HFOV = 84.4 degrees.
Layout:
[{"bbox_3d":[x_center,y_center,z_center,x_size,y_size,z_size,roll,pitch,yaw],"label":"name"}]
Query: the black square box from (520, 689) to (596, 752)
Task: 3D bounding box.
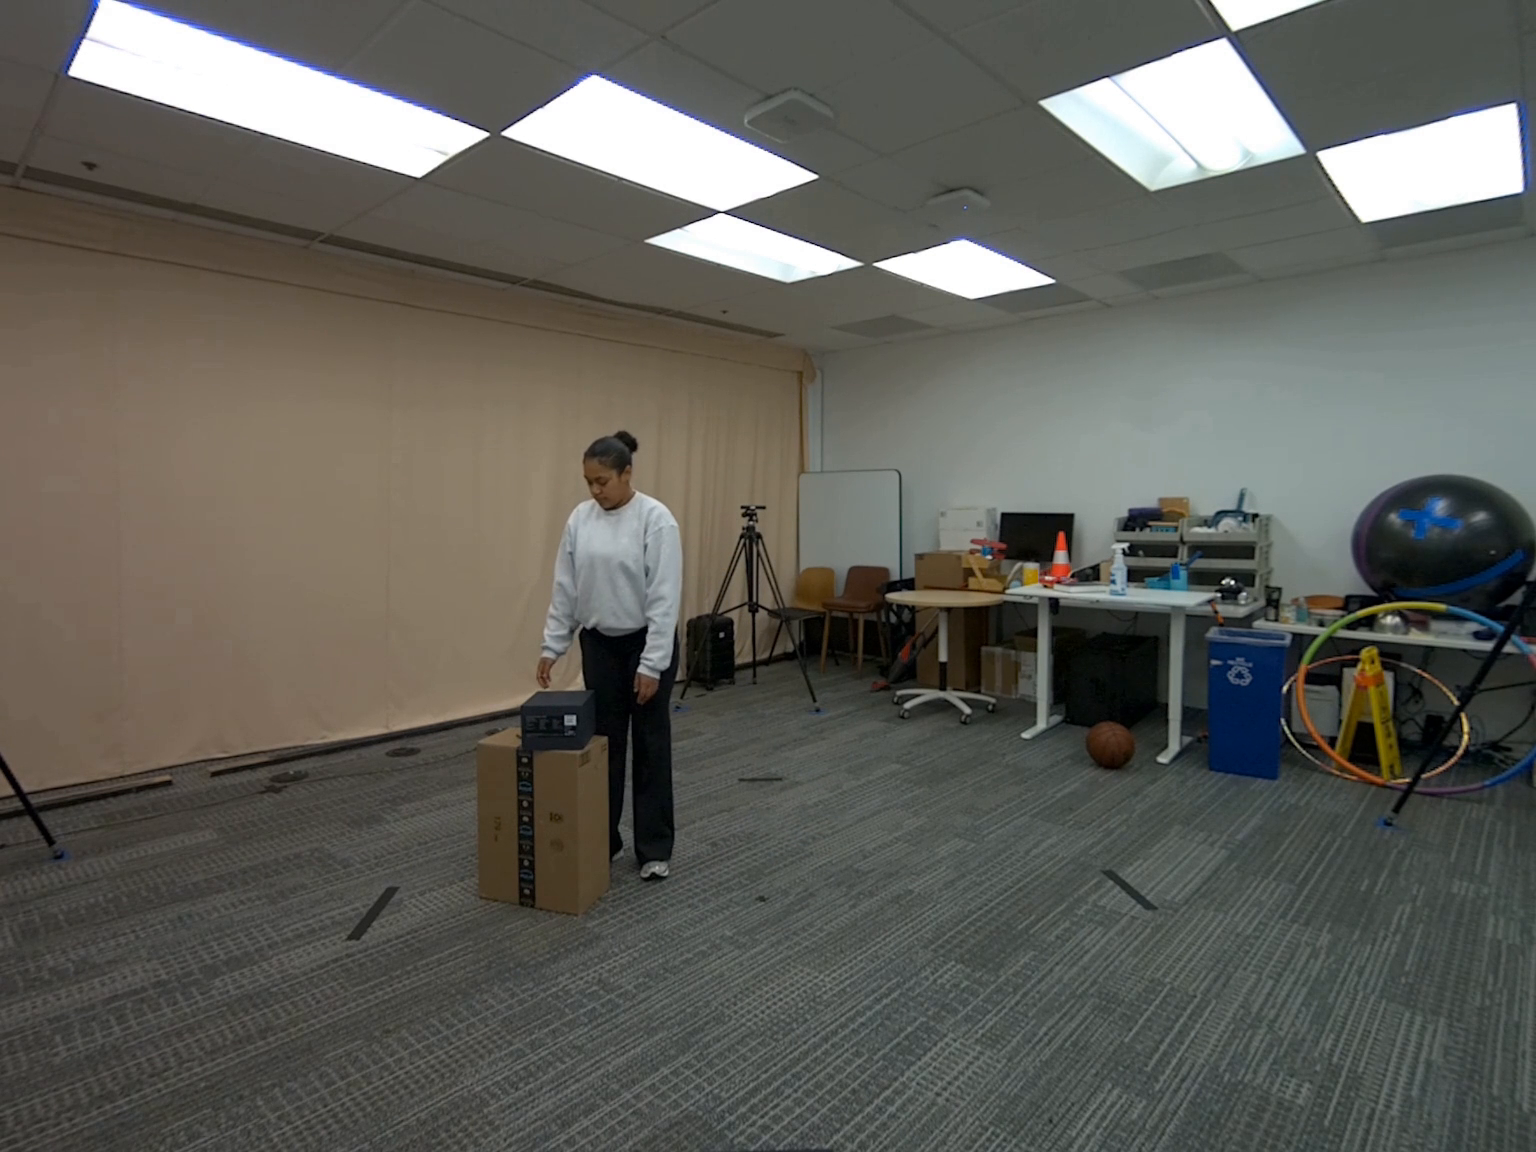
[{"bbox_3d":[-0.731,0.501,2.971,0.217,0.155,0.228,-1,4,0],"label":"black square box"}]
